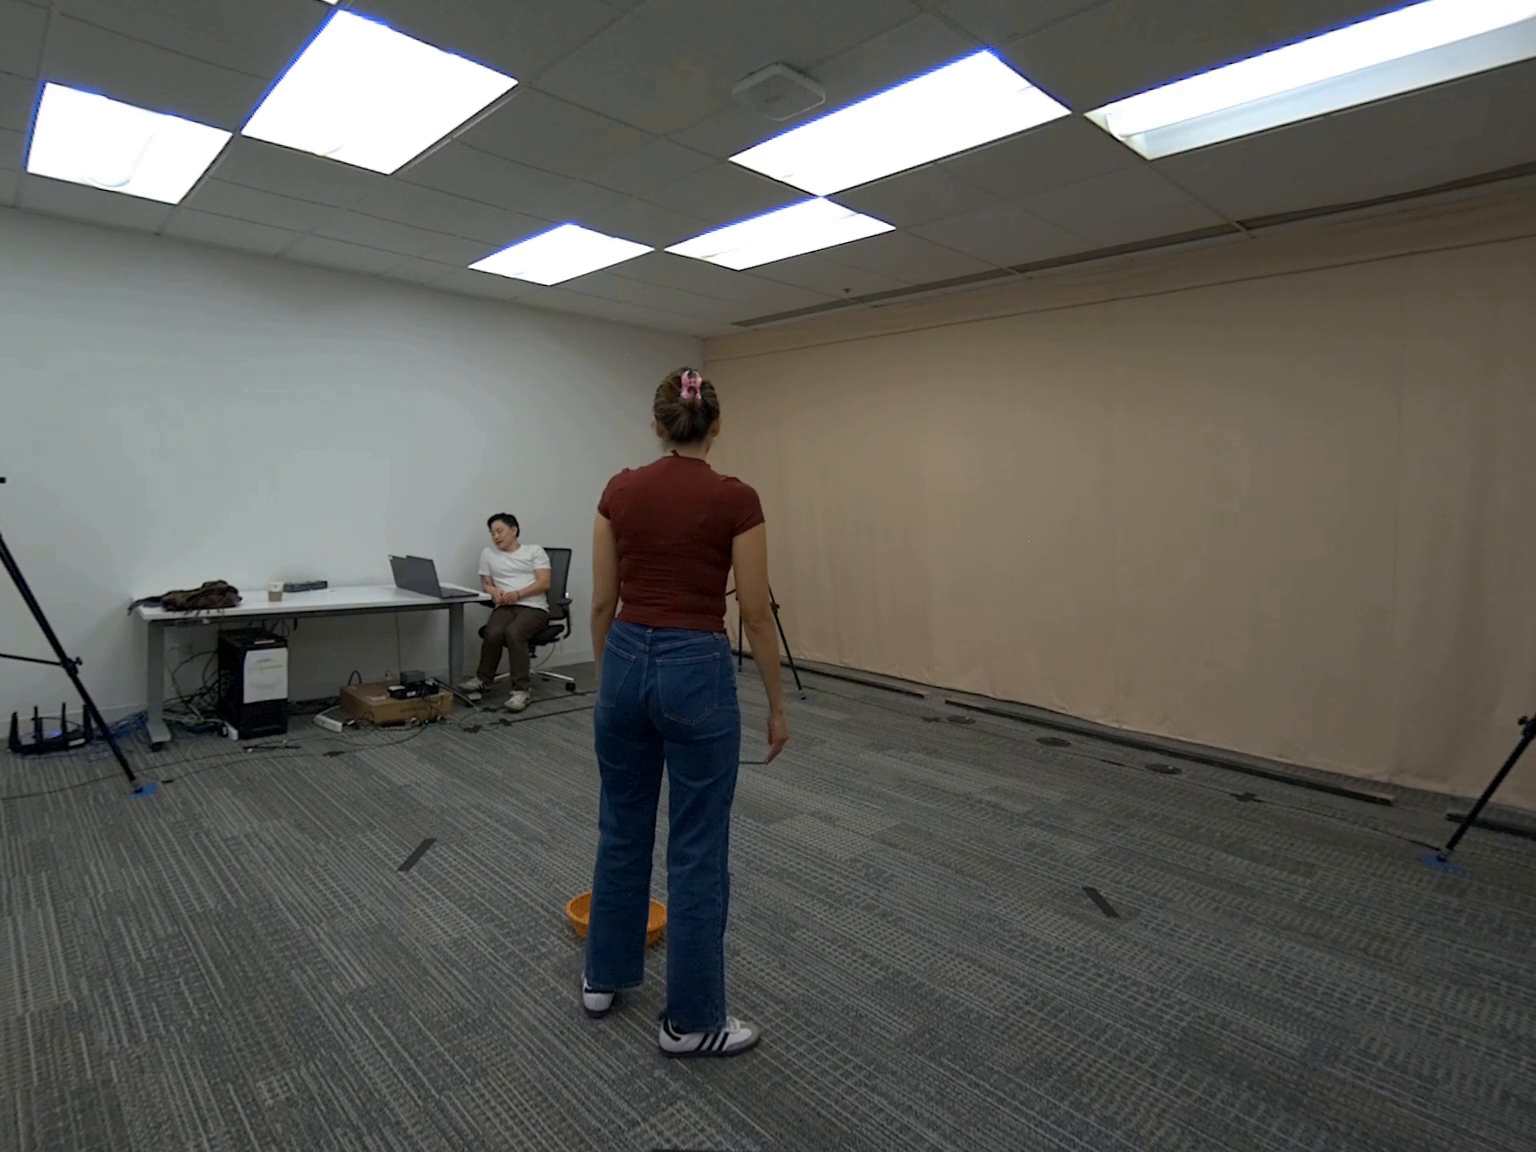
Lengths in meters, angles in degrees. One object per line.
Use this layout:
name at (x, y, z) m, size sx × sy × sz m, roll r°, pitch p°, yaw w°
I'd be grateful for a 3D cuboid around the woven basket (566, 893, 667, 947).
woven basket at (-0.484, 1.097, 2.679) m, size 0.358 × 0.073 × 0.247 m, roll 4°, pitch 4°, yaw 29°
